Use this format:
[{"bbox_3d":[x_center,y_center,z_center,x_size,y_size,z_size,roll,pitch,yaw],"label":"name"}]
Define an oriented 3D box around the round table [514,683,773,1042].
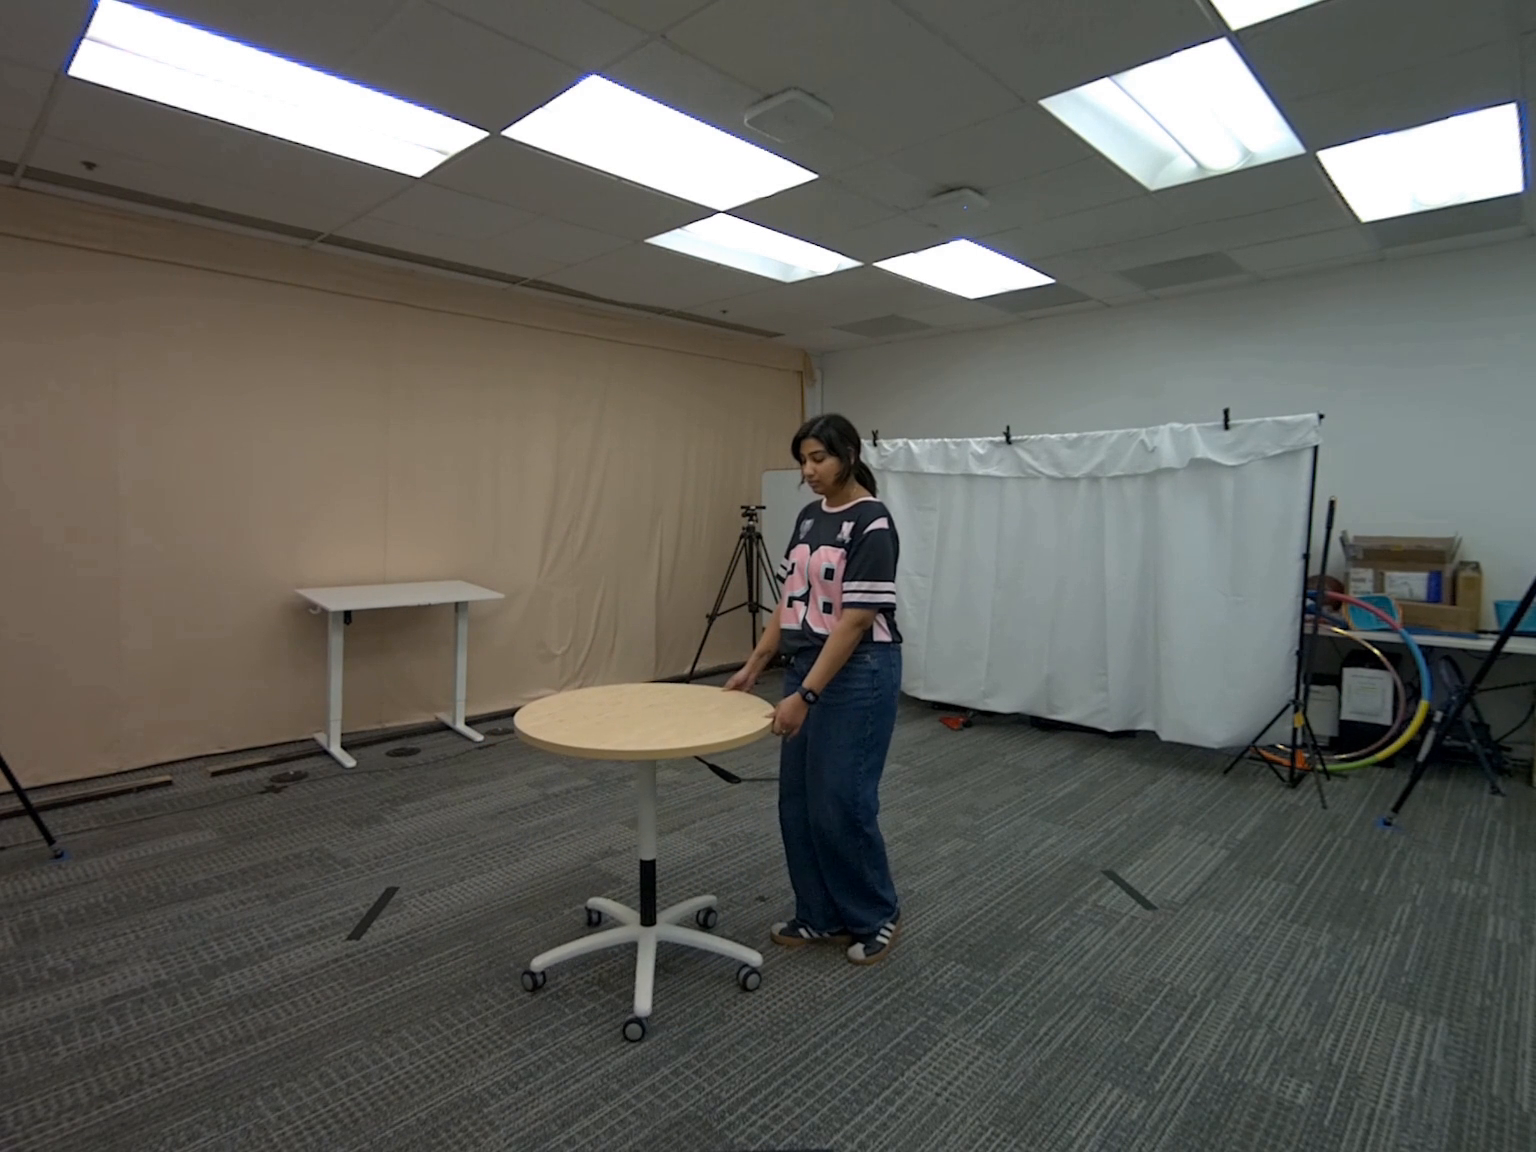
[{"bbox_3d":[-0.361,0.798,2.525,0.763,0.792,0.767,0,4,-2],"label":"round table"}]
